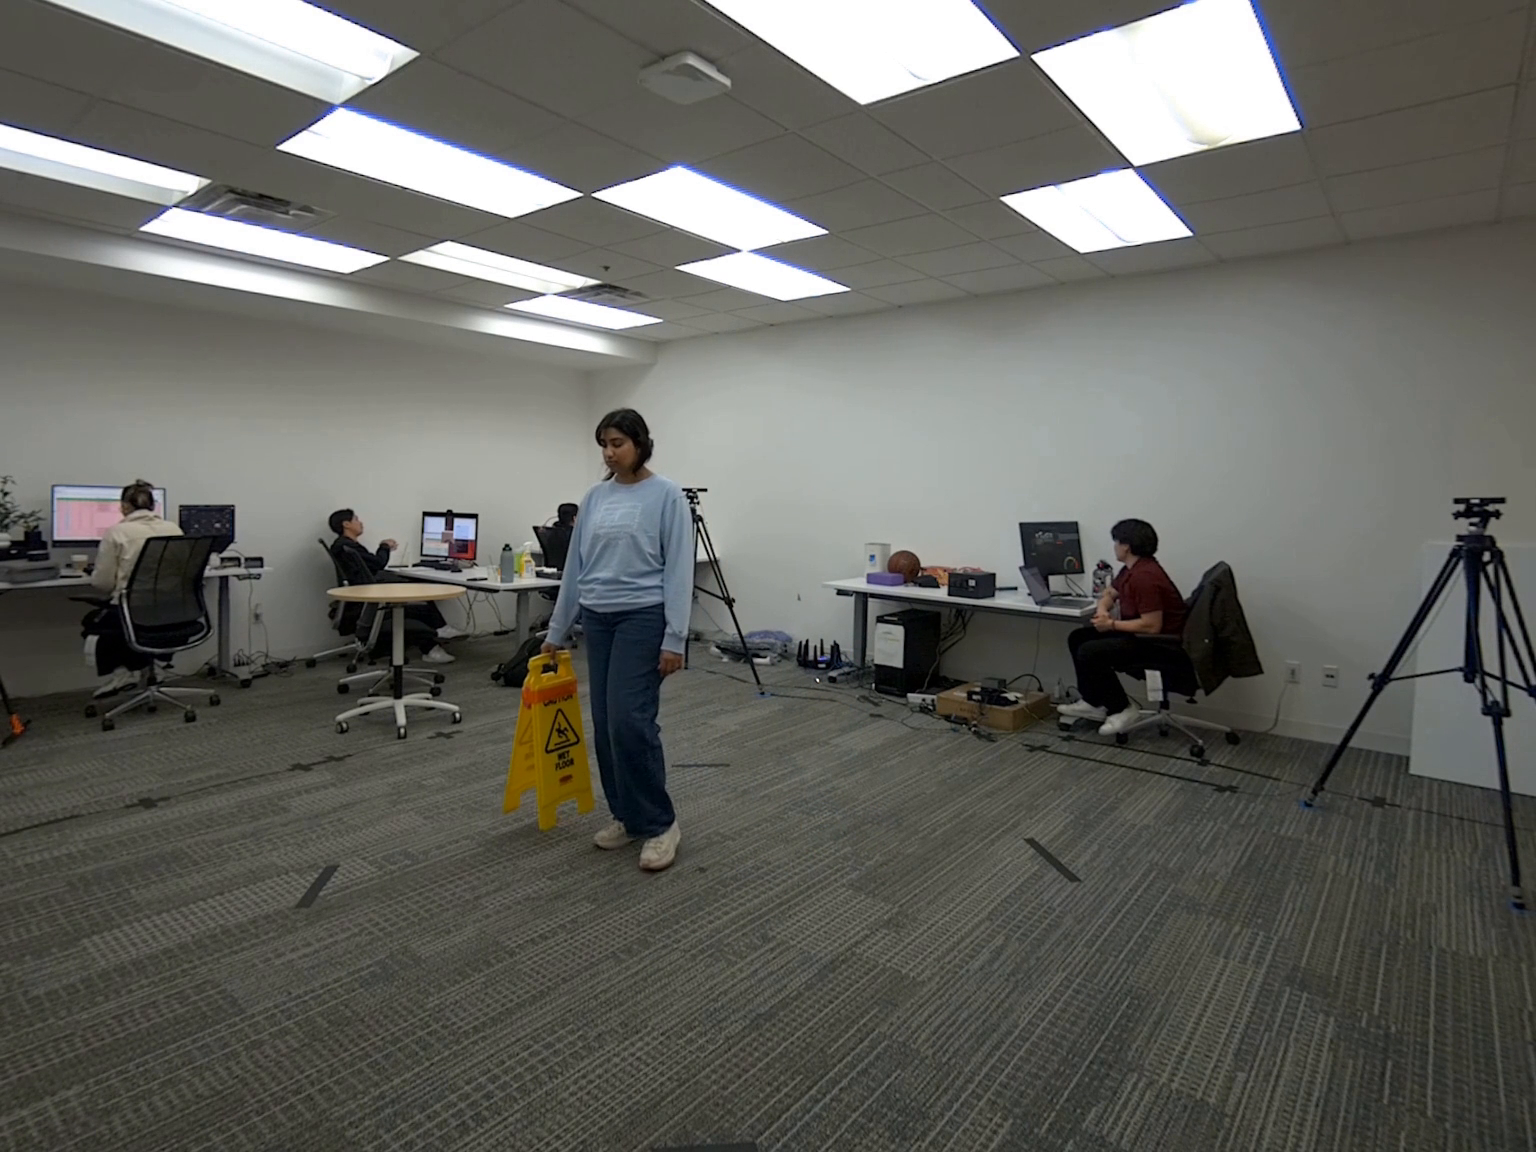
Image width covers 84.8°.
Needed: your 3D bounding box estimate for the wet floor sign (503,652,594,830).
[{"bbox_3d":[-0.890,0.633,3.423,0.299,0.643,0.274,5,6,36],"label":"wet floor sign"}]
